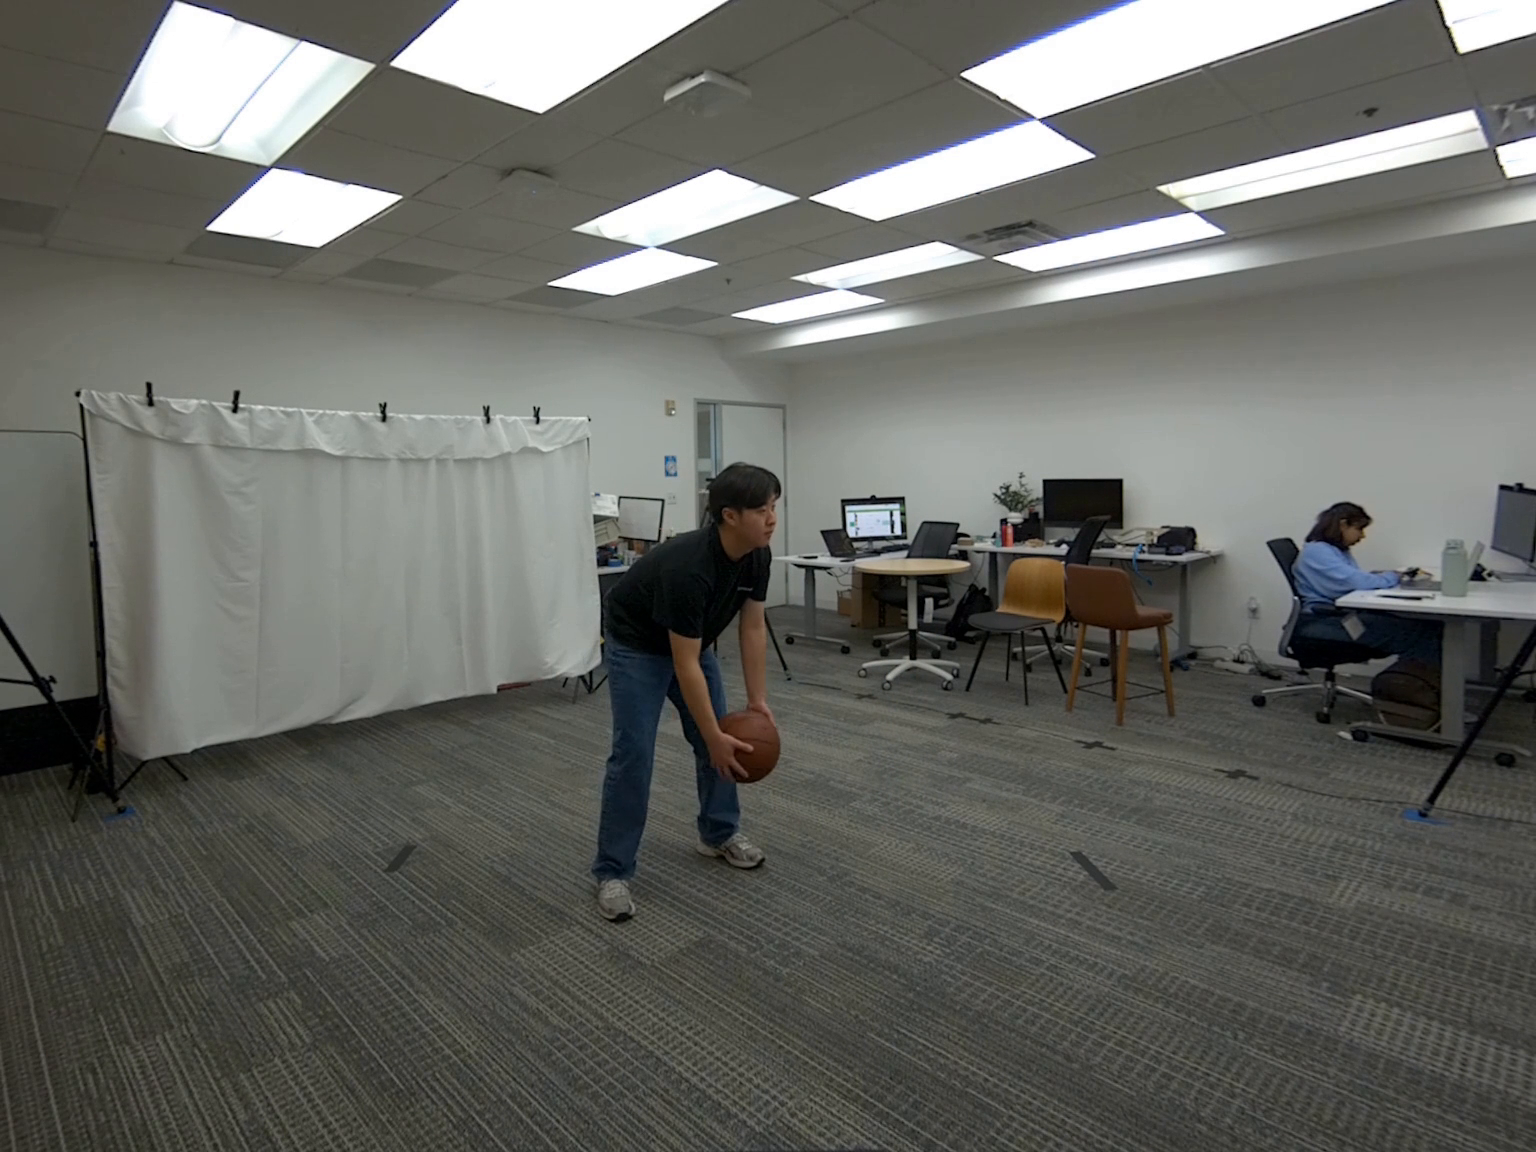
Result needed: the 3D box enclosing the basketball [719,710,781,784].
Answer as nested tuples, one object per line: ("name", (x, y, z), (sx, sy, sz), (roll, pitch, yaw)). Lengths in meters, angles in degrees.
("basketball", (-0.086, 0.553, 2.849), (0.236, 0.235, 0.237), (-1, 5, -2))
